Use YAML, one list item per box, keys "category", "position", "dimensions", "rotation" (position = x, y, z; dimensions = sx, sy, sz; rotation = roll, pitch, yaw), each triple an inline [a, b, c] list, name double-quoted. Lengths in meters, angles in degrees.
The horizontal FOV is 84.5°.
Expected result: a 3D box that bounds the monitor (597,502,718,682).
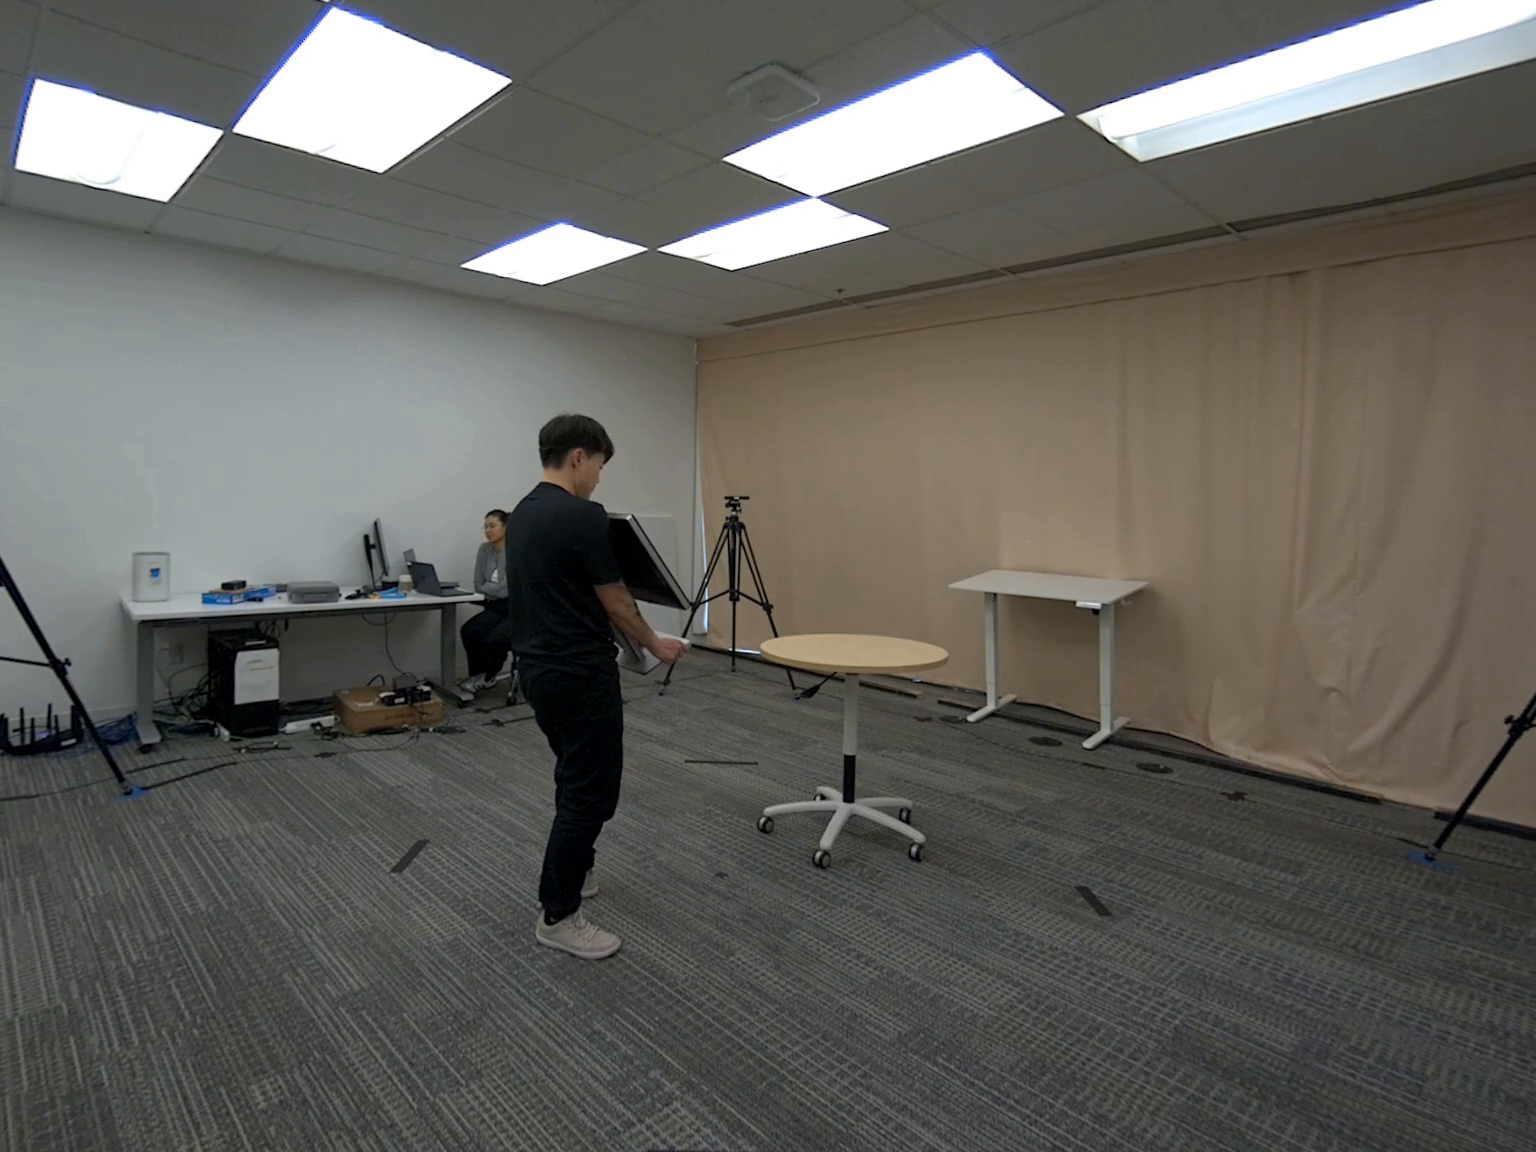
- category: "monitor"
  position: [-0.491, 0.032, 2.791]
  dimensions: [0.186, 0.513, 0.553]
  rotation: [-34, 24, -33]
